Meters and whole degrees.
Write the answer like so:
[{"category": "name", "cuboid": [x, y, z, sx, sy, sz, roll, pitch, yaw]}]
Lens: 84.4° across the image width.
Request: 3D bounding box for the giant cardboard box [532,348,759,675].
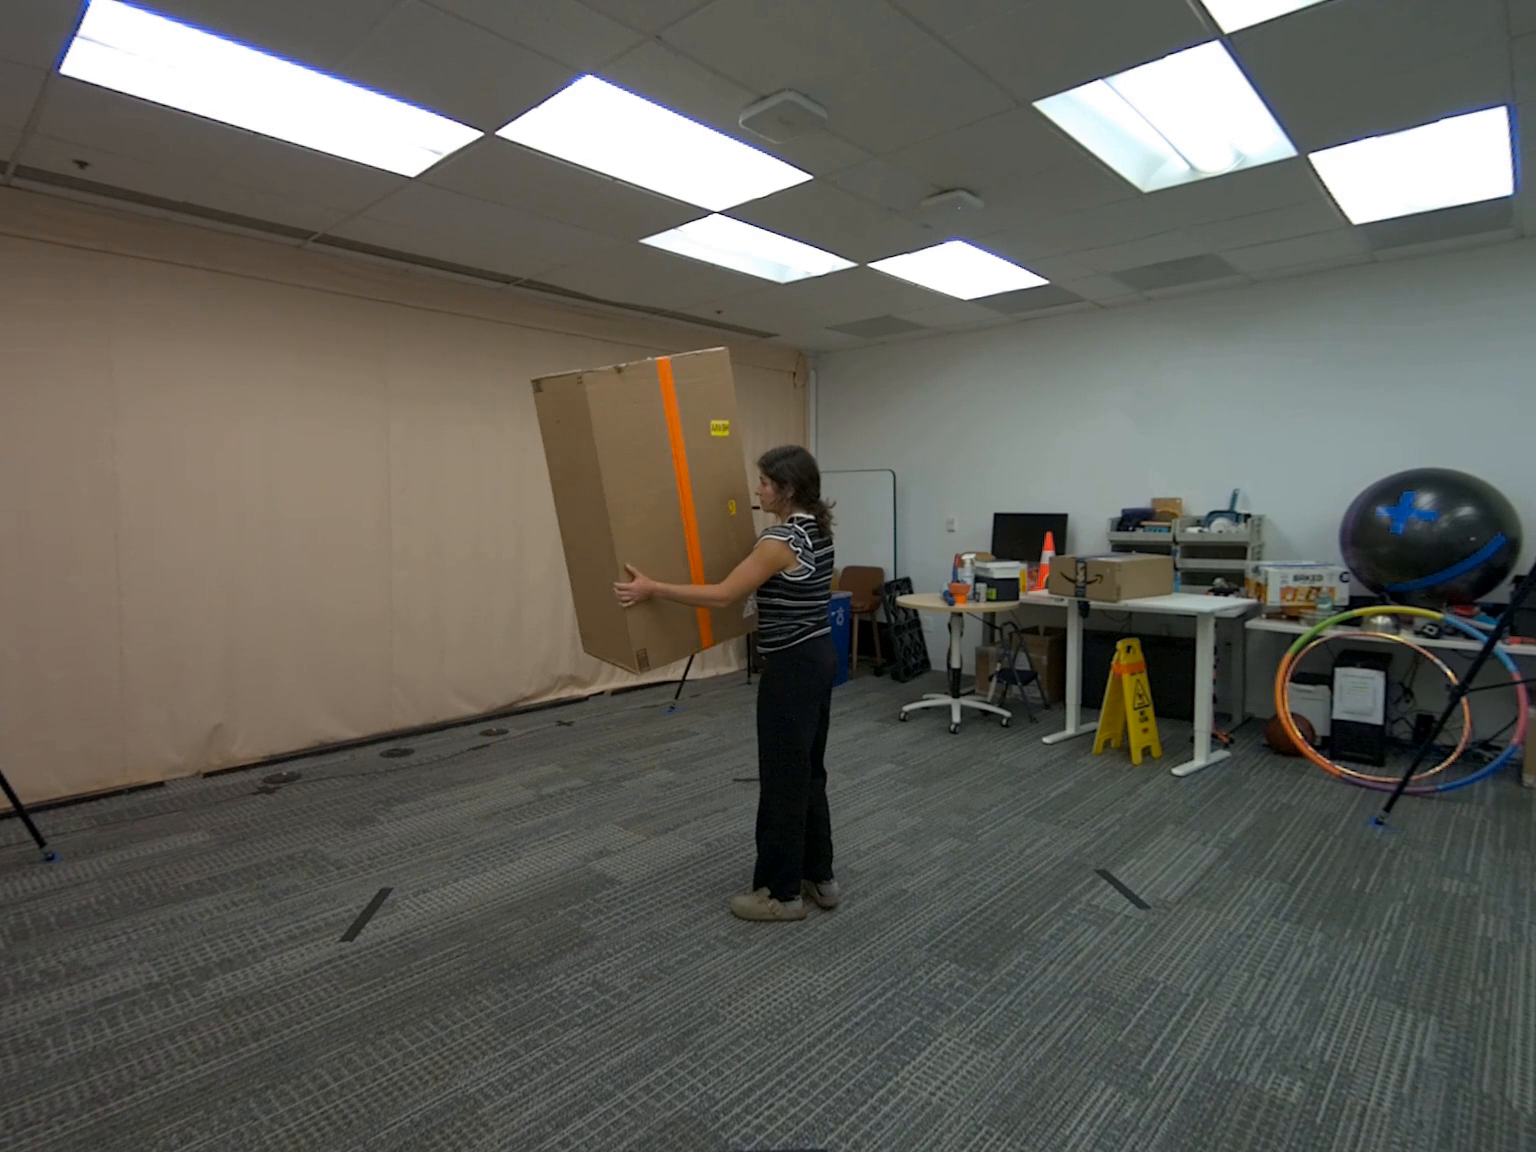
[{"category": "giant cardboard box", "cuboid": [-0.416, -0.245, 3.043, 0.564, 1.016, 0.440, -17, 16, -34]}]
